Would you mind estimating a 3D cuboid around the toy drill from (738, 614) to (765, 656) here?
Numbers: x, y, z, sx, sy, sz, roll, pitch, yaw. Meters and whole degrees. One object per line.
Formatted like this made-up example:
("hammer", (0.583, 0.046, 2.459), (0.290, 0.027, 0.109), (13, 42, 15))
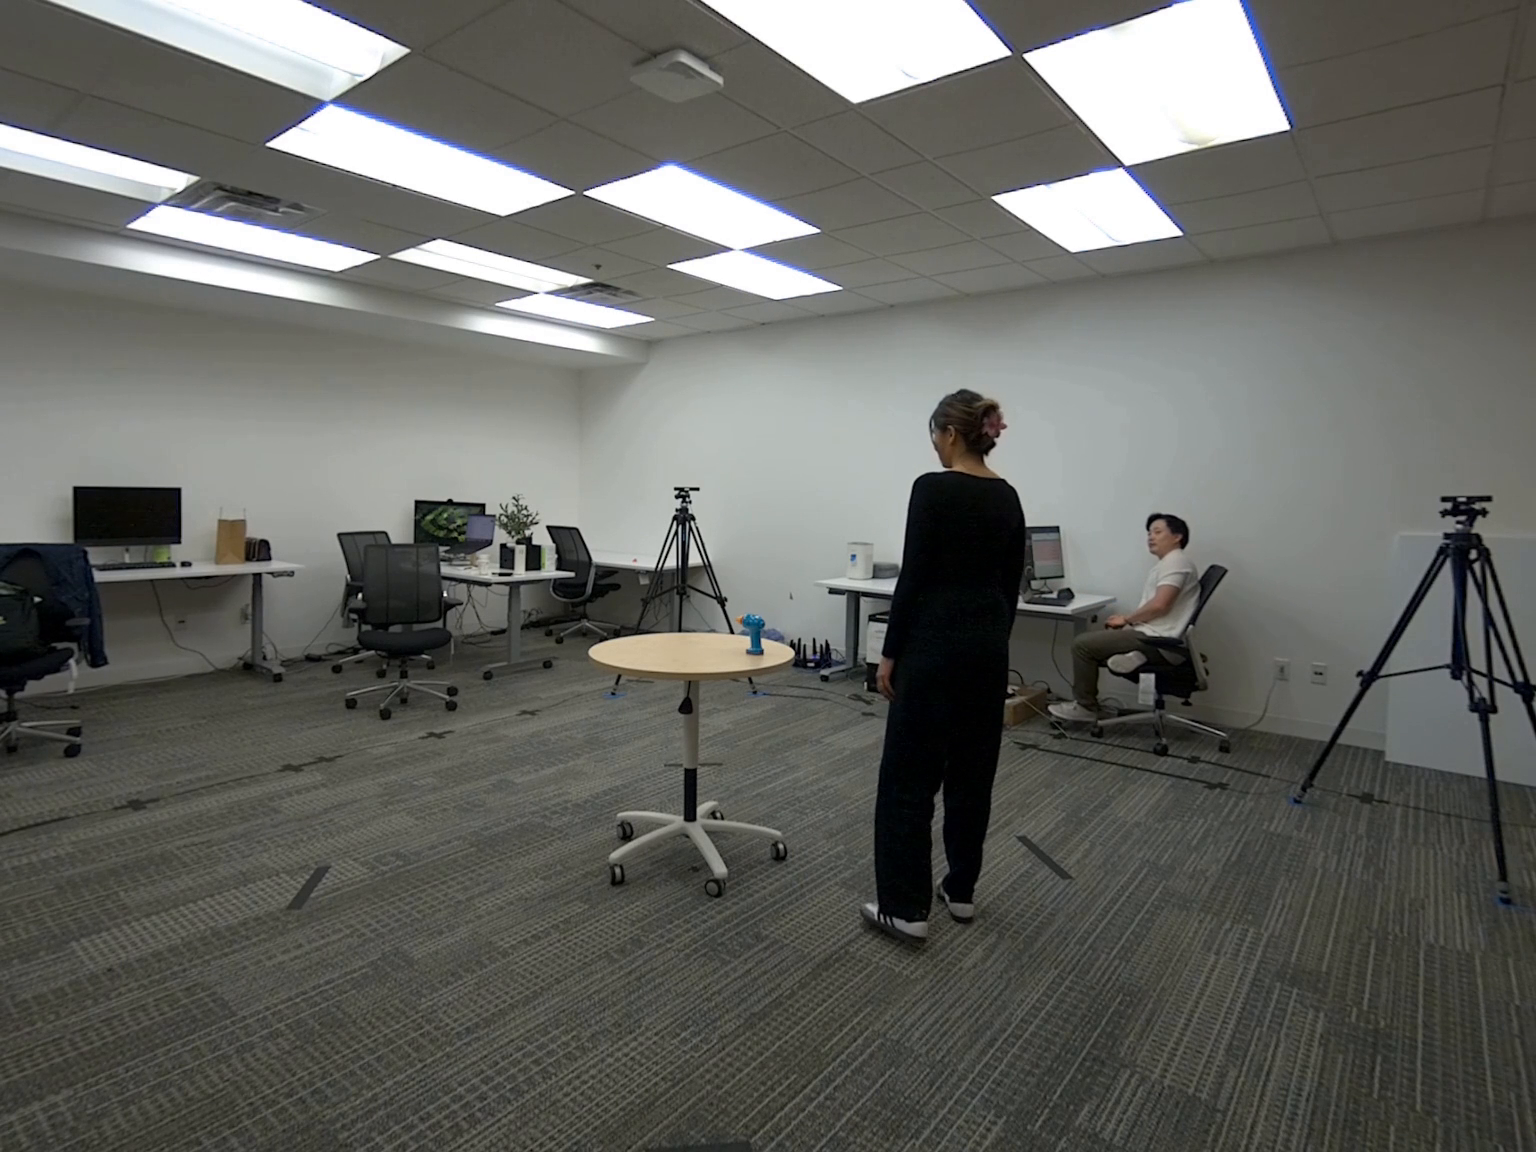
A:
("toy drill", (-0.084, 0.206, 3.144), (0.059, 0.145, 0.175), (-3, 6, -35))
